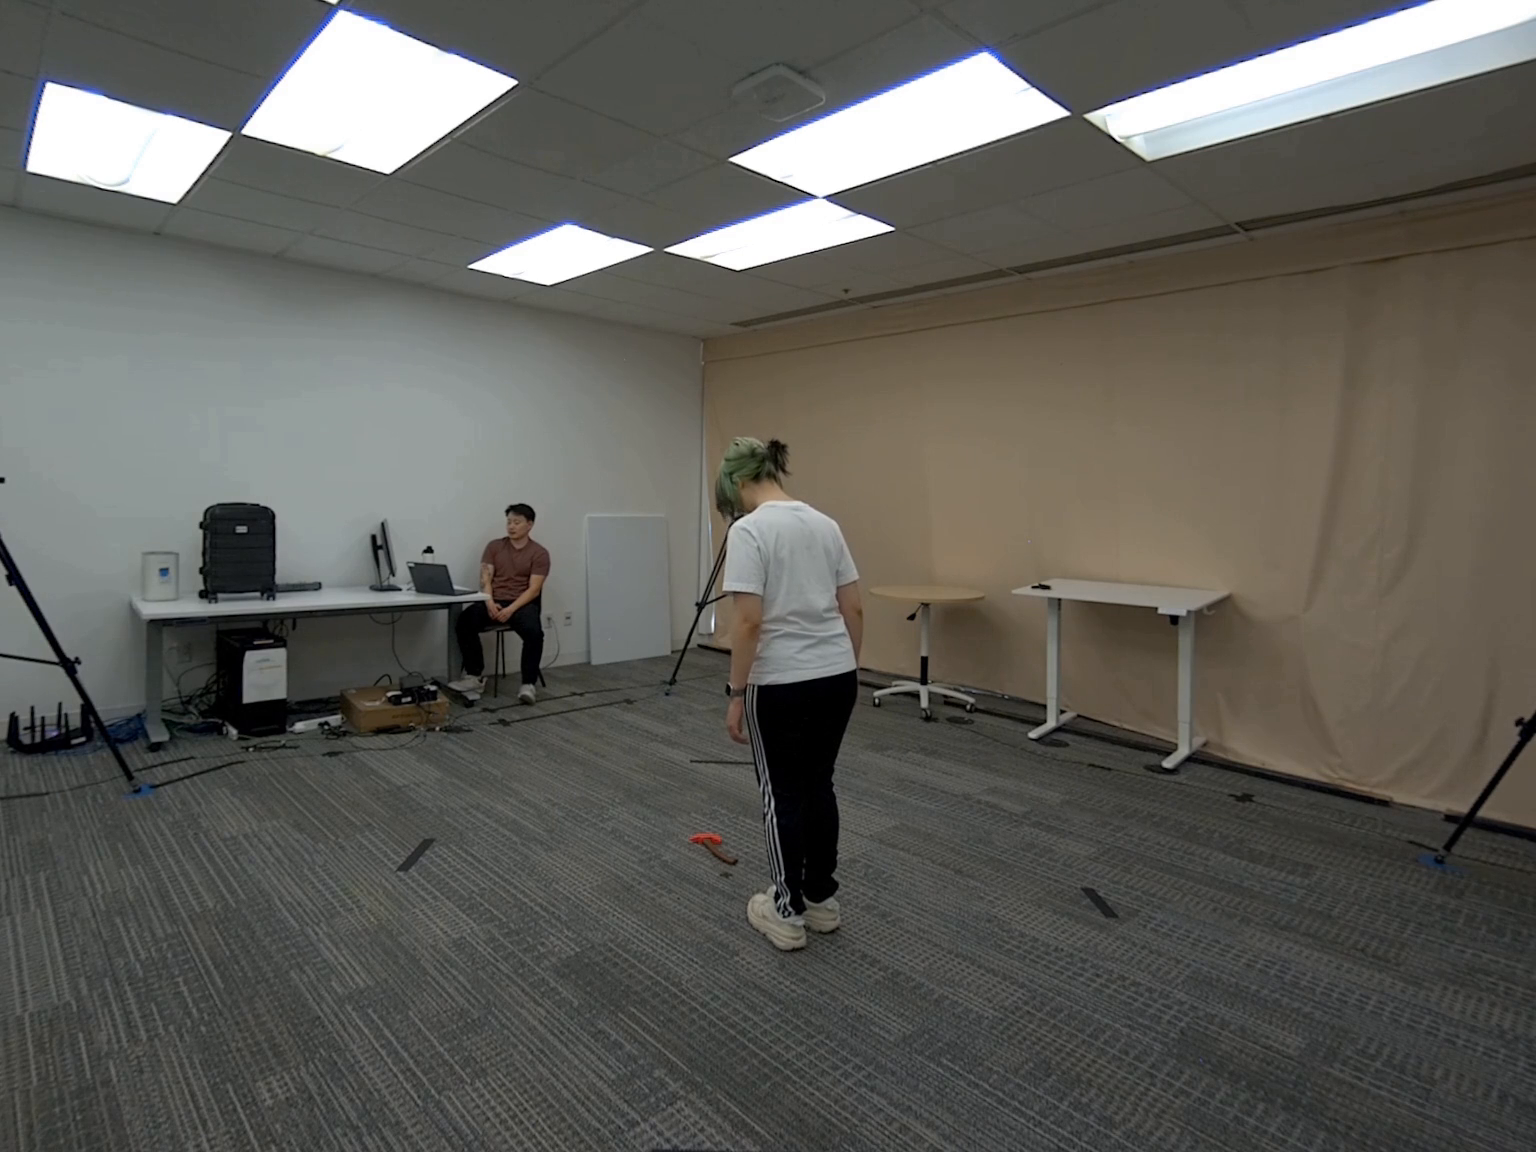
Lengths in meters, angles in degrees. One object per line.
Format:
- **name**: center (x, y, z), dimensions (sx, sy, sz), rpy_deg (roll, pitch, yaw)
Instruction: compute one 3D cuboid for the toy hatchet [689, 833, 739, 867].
- **toy hatchet**: center (-0.192, 1.074, 3.324), dimensions (0.128, 0.029, 0.277), rpy_deg (-1, 7, -41)
